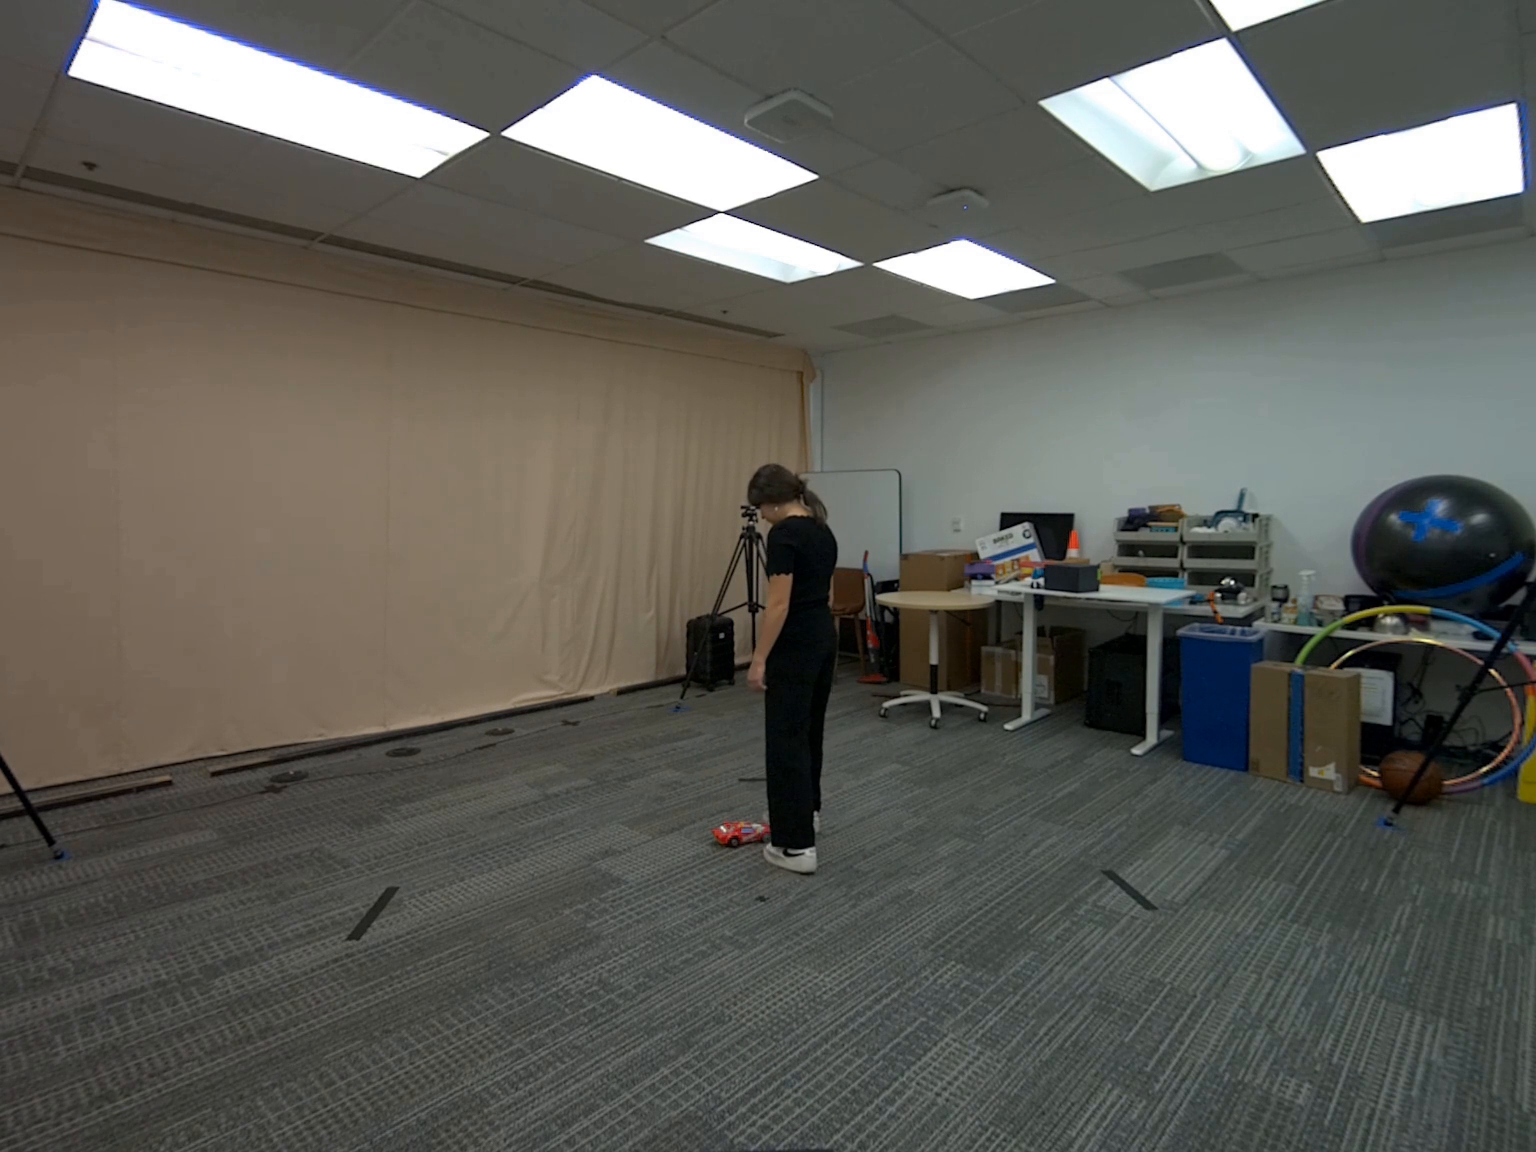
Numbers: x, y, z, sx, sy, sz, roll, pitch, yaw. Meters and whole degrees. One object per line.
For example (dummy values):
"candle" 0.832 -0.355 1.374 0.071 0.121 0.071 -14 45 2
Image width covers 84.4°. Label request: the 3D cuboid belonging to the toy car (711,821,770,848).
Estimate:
"toy car" -0.117 1.069 3.492 0.249 0.083 0.133 11 -1 -21
